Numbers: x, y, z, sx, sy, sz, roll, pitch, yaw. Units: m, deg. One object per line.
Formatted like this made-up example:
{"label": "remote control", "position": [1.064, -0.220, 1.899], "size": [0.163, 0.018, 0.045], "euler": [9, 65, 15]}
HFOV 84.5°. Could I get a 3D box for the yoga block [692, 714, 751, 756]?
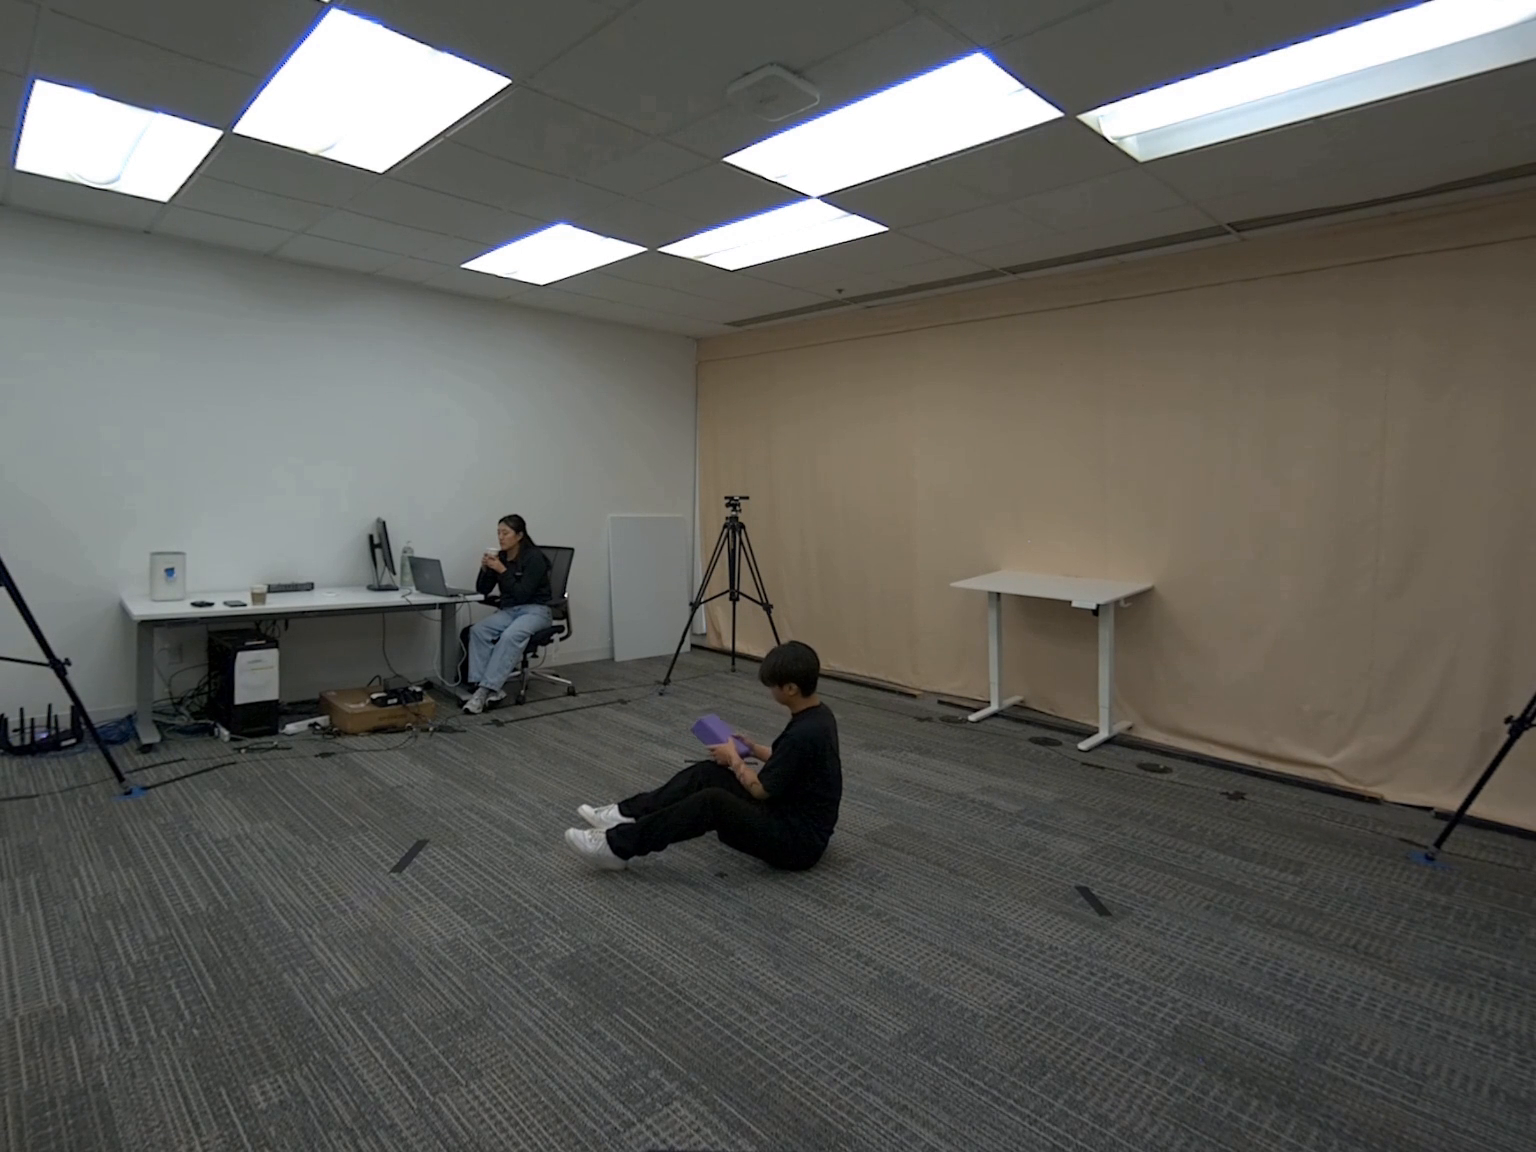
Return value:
{"label": "yoga block", "position": [-0.198, 0.685, 3.528], "size": [0.233, 0.076, 0.146], "euler": [41, 12, 16]}
